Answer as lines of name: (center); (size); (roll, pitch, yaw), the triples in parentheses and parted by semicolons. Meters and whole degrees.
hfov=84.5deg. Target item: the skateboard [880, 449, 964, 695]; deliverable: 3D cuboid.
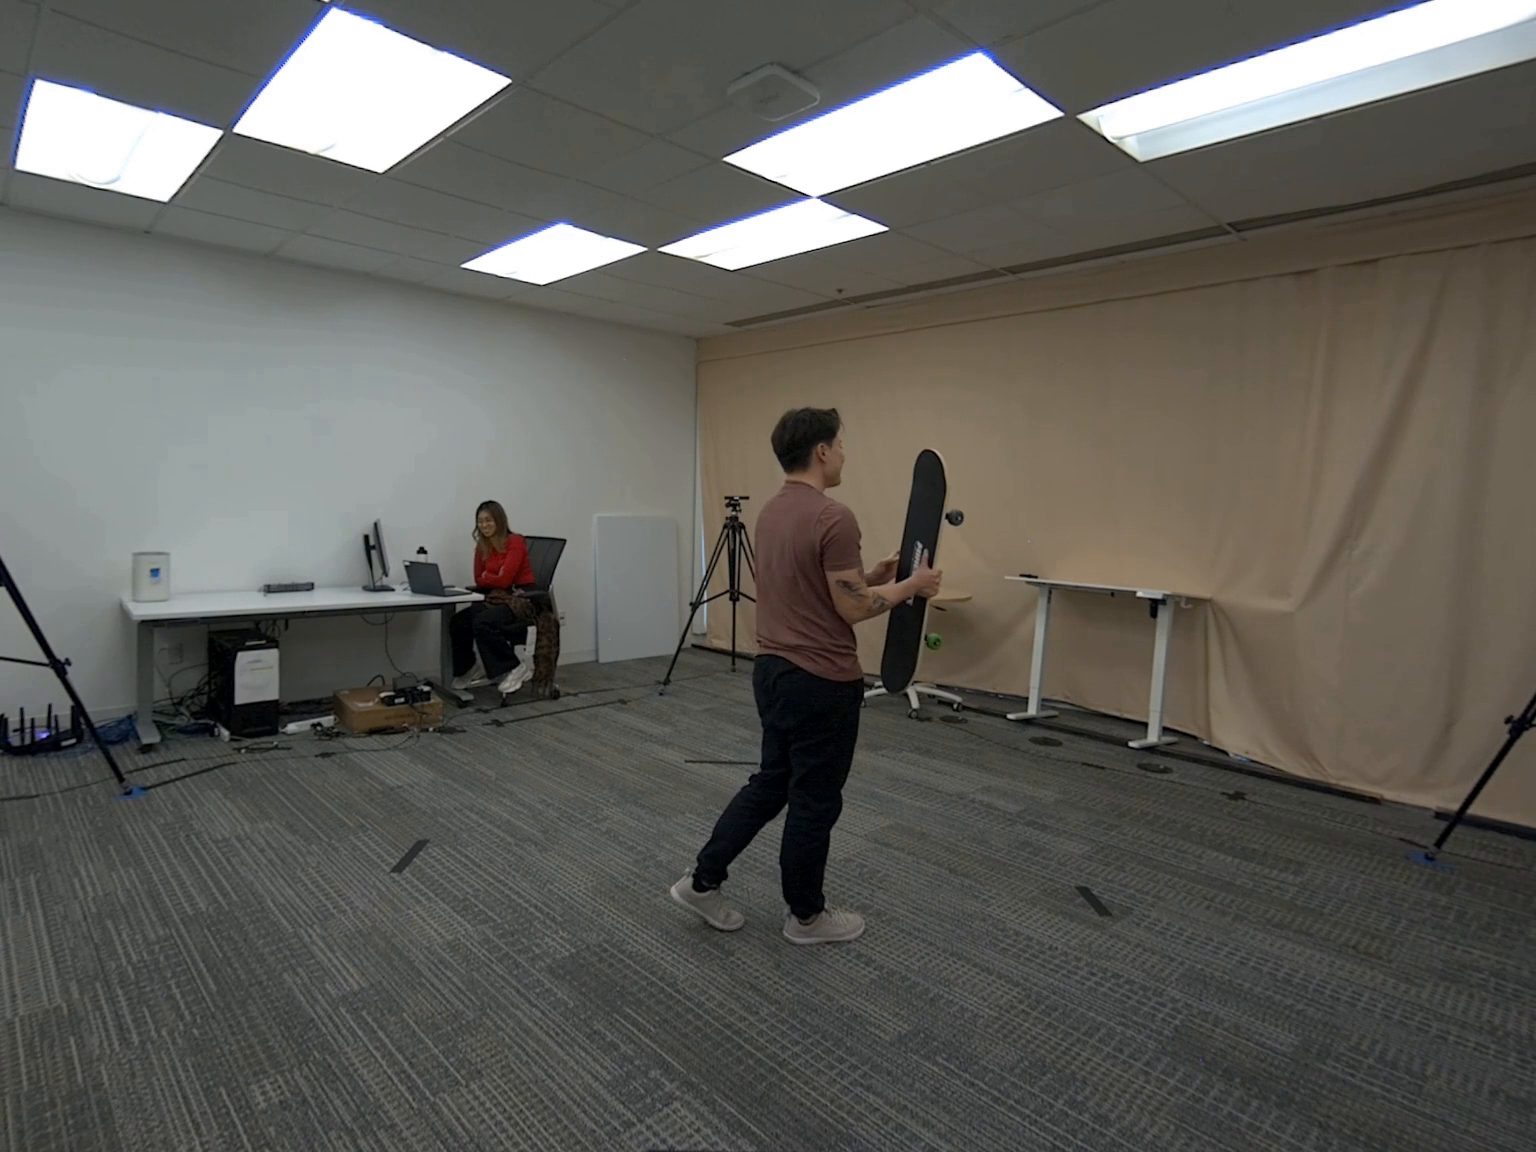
skateboard: (0.486, -0.003, 2.668); (0.108, 0.781, 0.198); (4, 10, -24)
